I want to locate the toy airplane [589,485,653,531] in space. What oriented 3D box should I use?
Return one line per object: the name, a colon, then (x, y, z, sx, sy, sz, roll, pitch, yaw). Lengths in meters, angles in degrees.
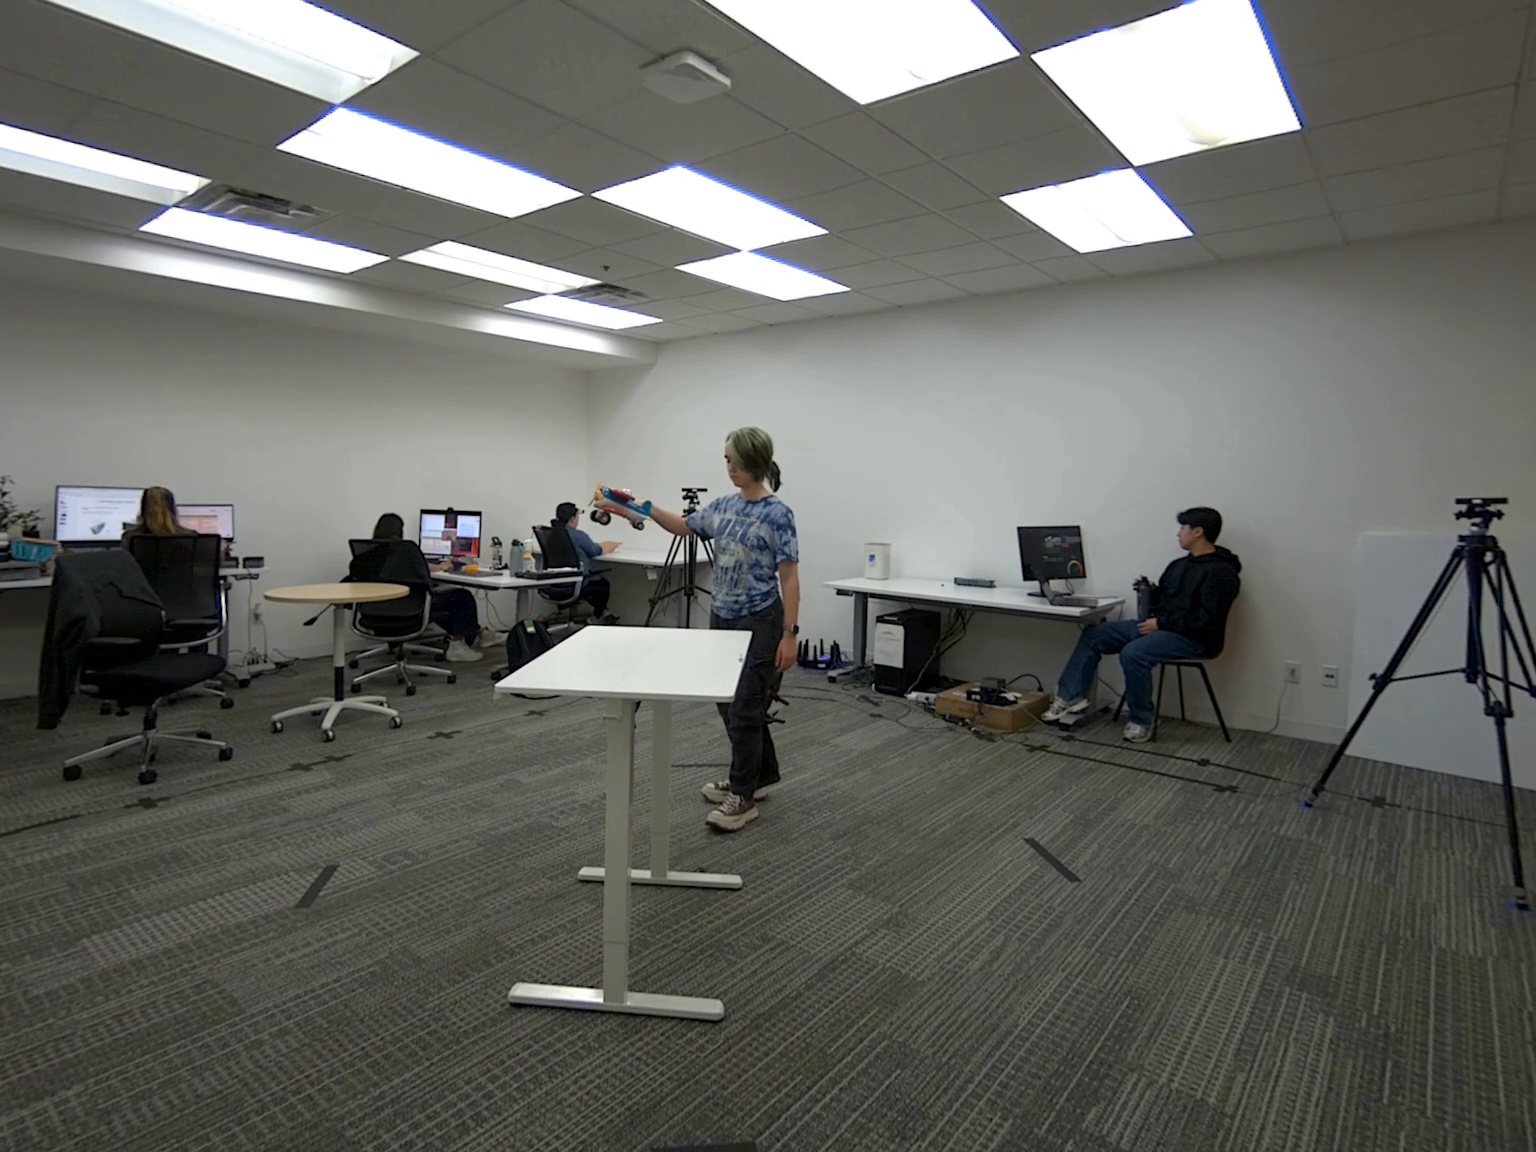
toy airplane: (-0.649, -0.287, 3.576, 0.259, 0.156, 0.252, 15, 6, 29)
